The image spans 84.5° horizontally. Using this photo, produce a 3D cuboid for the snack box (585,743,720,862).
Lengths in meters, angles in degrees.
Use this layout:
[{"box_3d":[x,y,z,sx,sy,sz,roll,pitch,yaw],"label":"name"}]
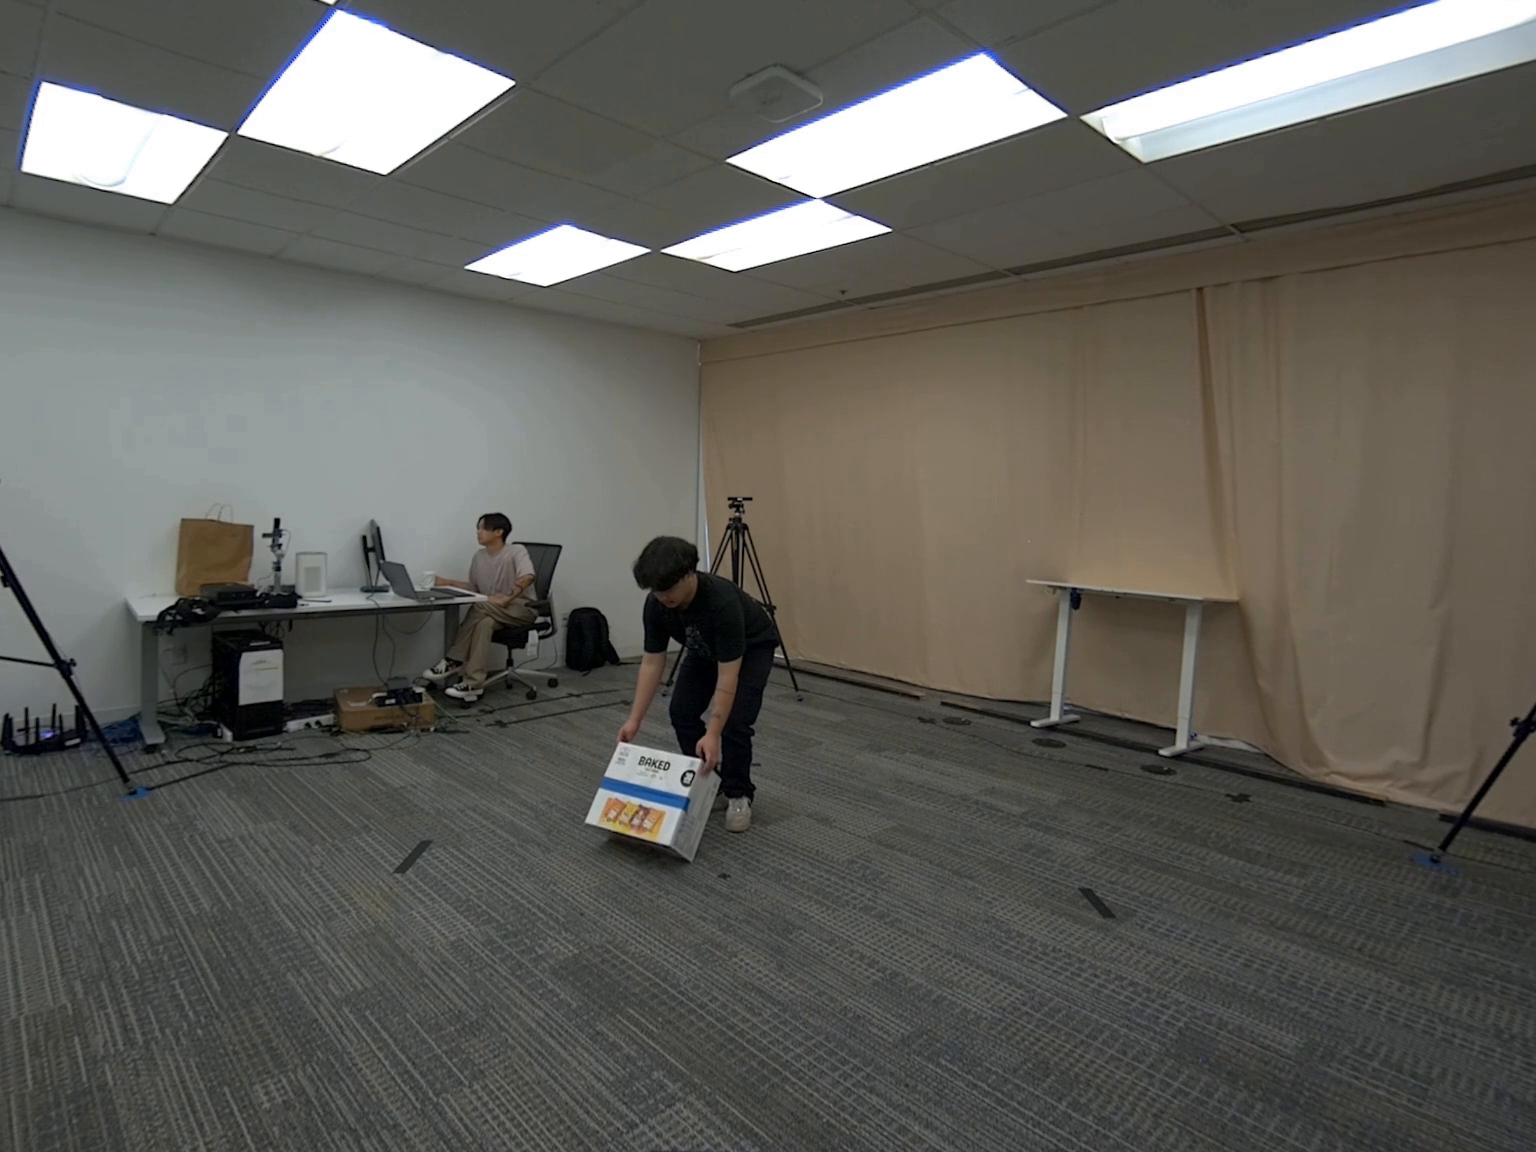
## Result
[{"box_3d":[-0.456,0.889,3.325,0.414,0.344,0.199,4,-33,29],"label":"snack box"}]
